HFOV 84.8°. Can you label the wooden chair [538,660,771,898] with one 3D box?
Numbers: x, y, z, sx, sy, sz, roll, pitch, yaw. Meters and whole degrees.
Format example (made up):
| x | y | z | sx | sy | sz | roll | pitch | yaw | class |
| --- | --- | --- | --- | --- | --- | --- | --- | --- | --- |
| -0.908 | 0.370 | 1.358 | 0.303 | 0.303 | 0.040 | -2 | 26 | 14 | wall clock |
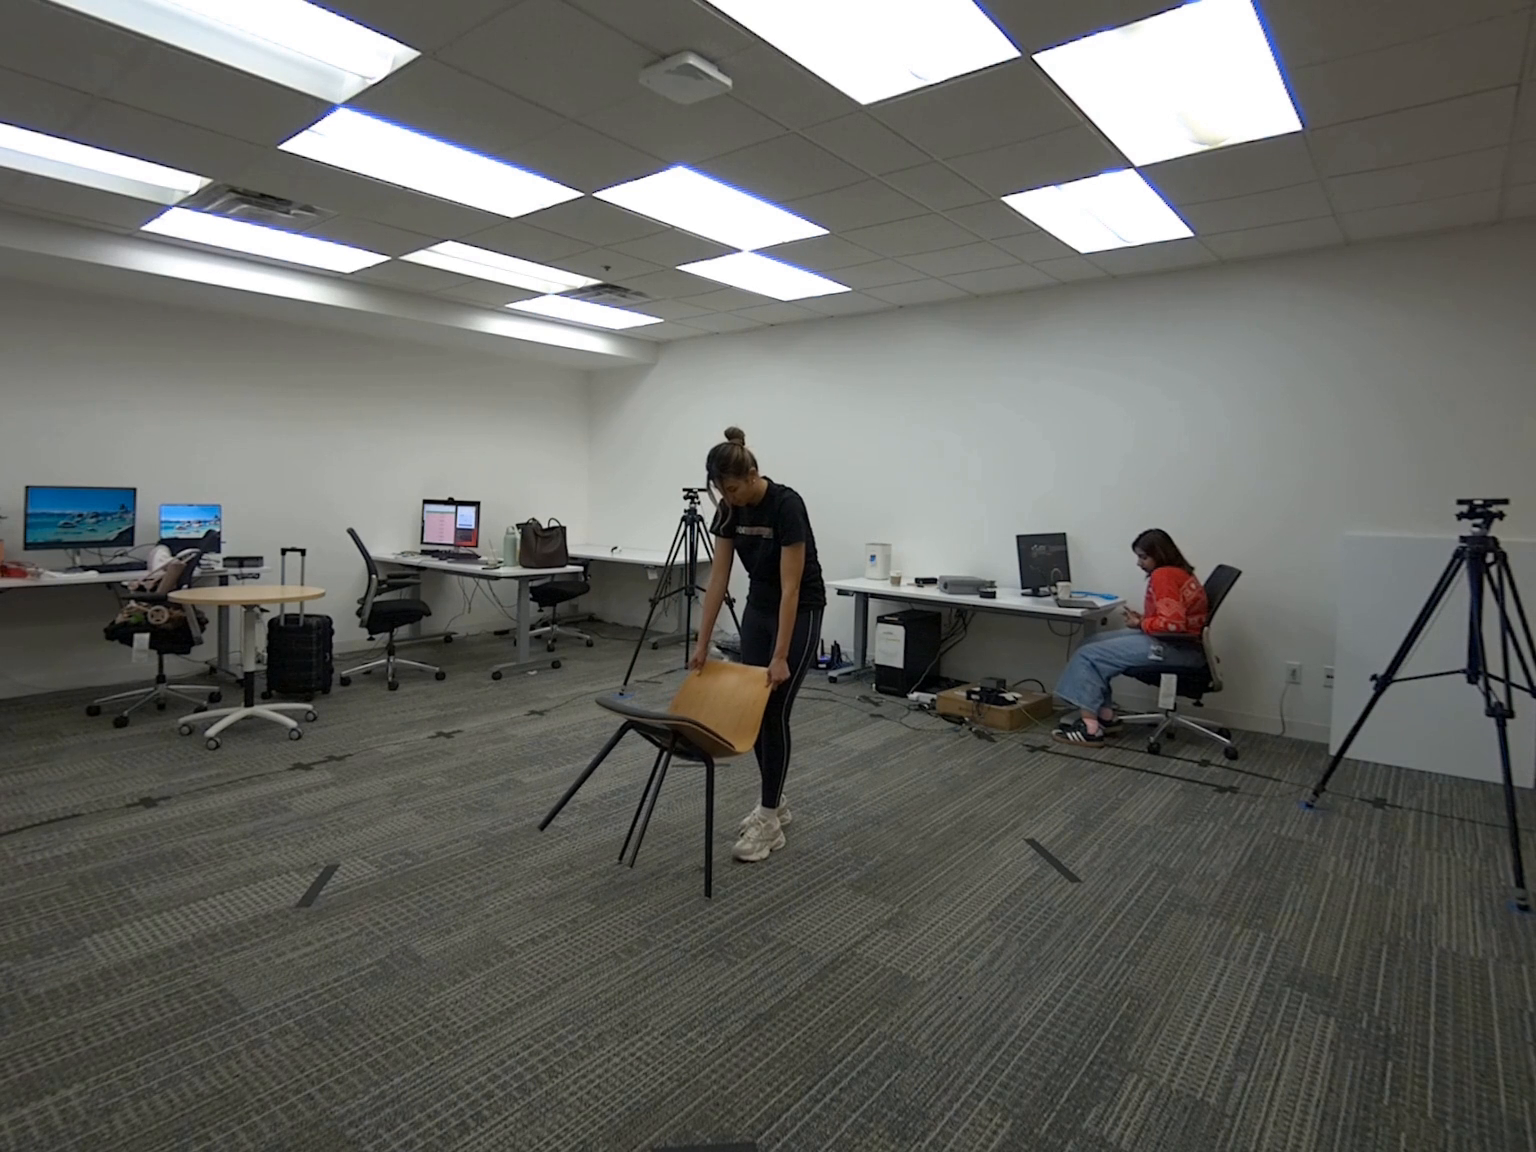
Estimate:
| x | y | z | sx | sy | sz | roll | pitch | yaw | class |
| --- | --- | --- | --- | --- | --- | --- | --- | --- | --- |
| -0.367 | 0.587 | 3.008 | 0.494 | 0.886 | 0.501 | 3 | -31 | 39 | wooden chair |
